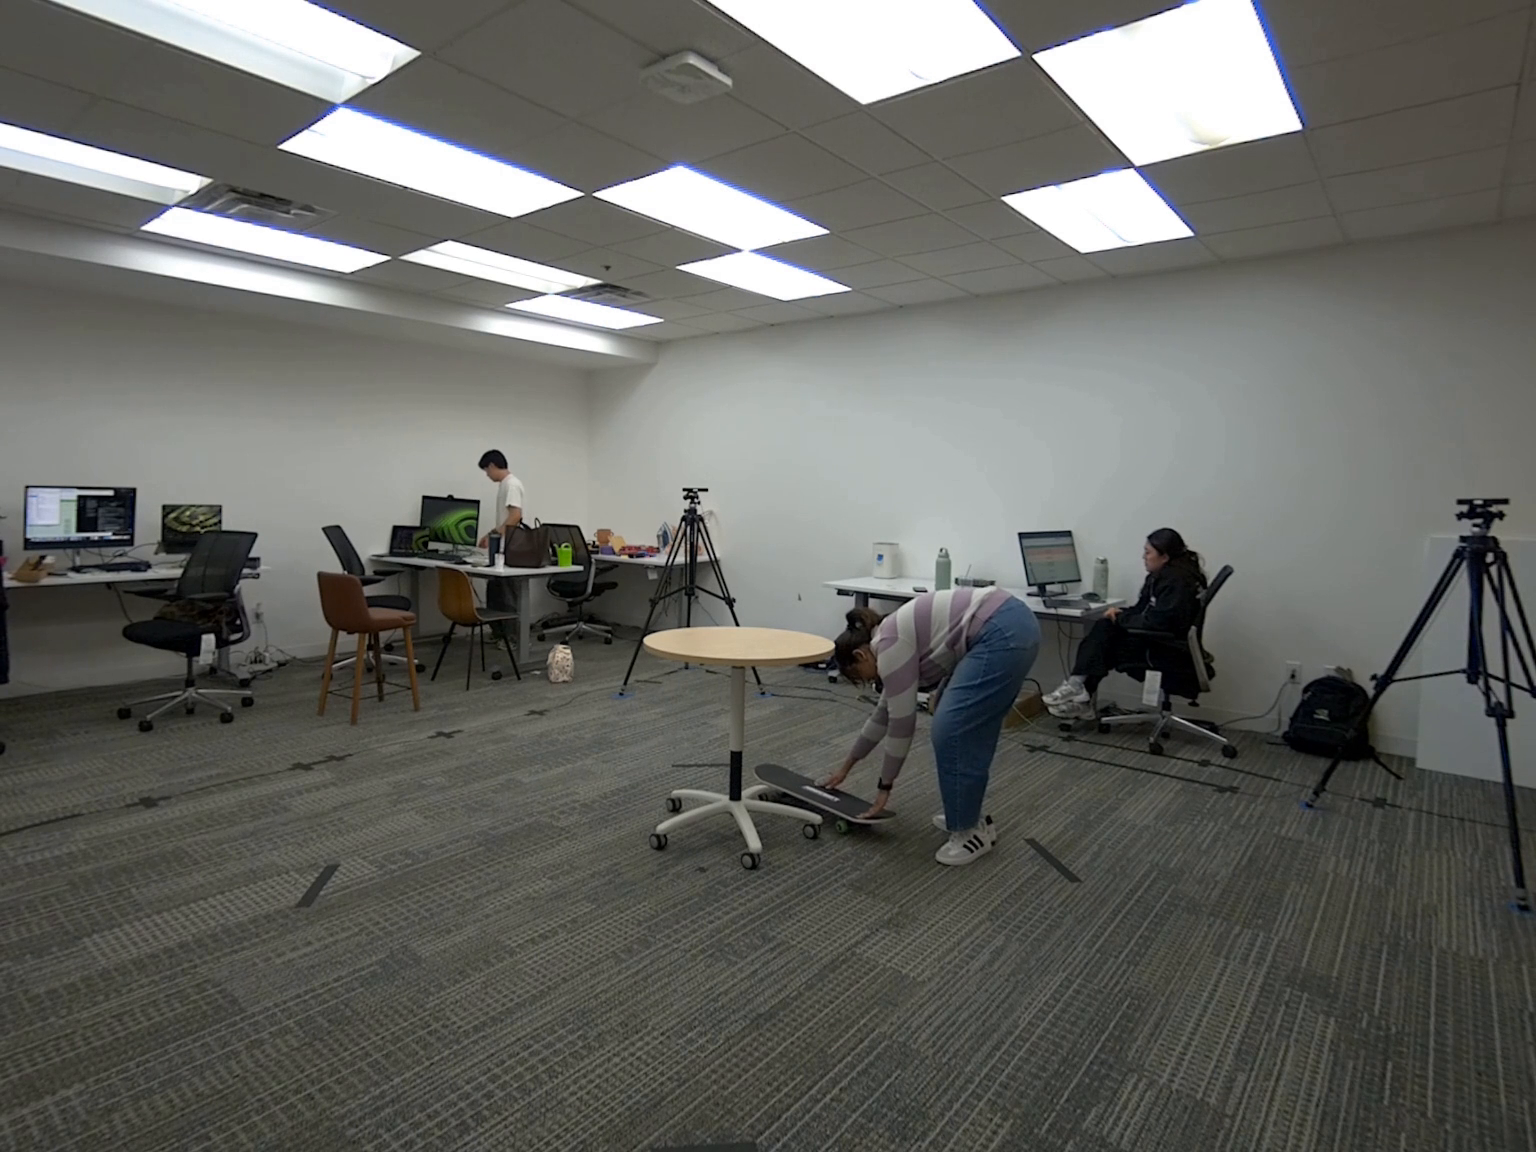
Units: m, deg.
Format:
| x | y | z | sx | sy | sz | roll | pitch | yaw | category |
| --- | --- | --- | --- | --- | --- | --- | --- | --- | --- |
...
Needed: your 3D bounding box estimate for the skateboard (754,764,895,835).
| x | y | z | sx | sy | sz | roll | pitch | yaw | category |
| --- | --- | --- | --- | --- | --- | --- | --- | --- | --- |
| 0.212 | 0.961 | 3.665 | 0.188 | 0.110 | 0.812 | -4 | 8 | -39 | skateboard |
